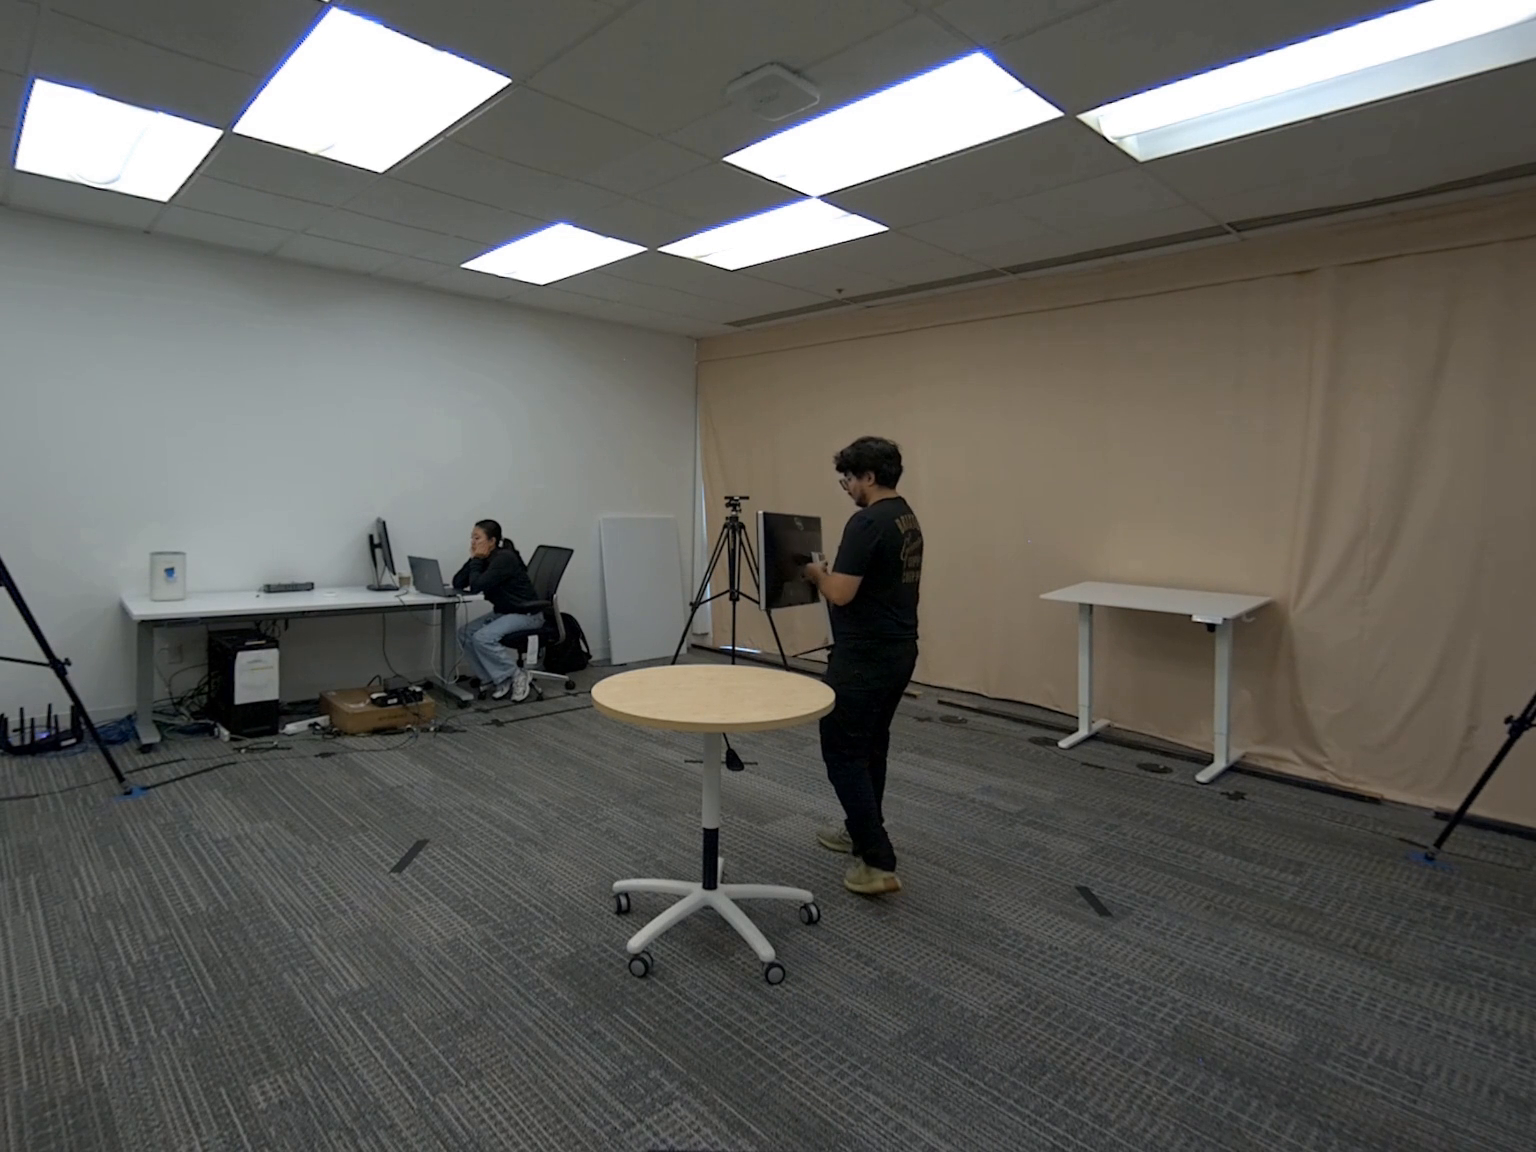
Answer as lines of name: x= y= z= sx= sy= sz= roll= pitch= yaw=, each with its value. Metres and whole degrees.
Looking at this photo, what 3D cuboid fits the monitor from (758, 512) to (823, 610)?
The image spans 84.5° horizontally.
monitor: x=0.170 y=0.020 z=3.273 sx=0.213 sy=0.556 sz=0.554 roll=-11 pitch=-5 yaw=27
